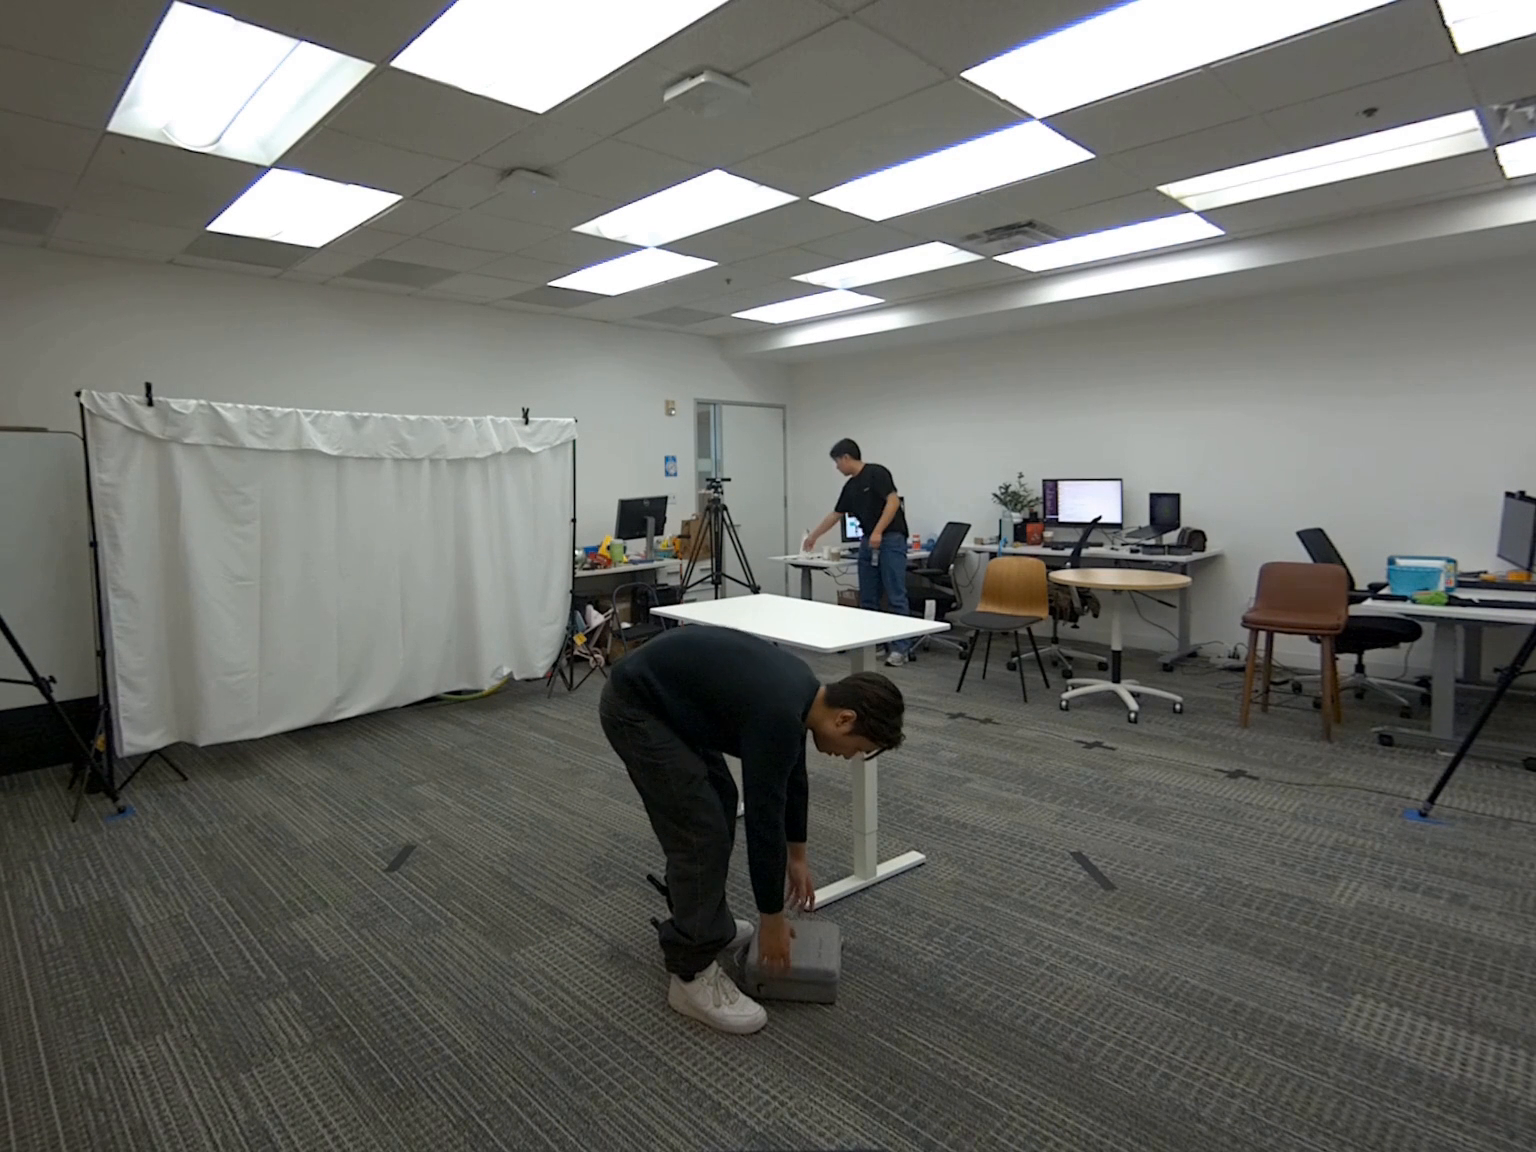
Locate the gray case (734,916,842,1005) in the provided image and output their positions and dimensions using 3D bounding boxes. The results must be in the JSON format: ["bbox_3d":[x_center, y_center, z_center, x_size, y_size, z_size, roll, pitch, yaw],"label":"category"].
[{"bbox_3d":[0.077,1.064,2.388,0.263,0.104,0.256,-1,7,8],"label":"gray case"}]
